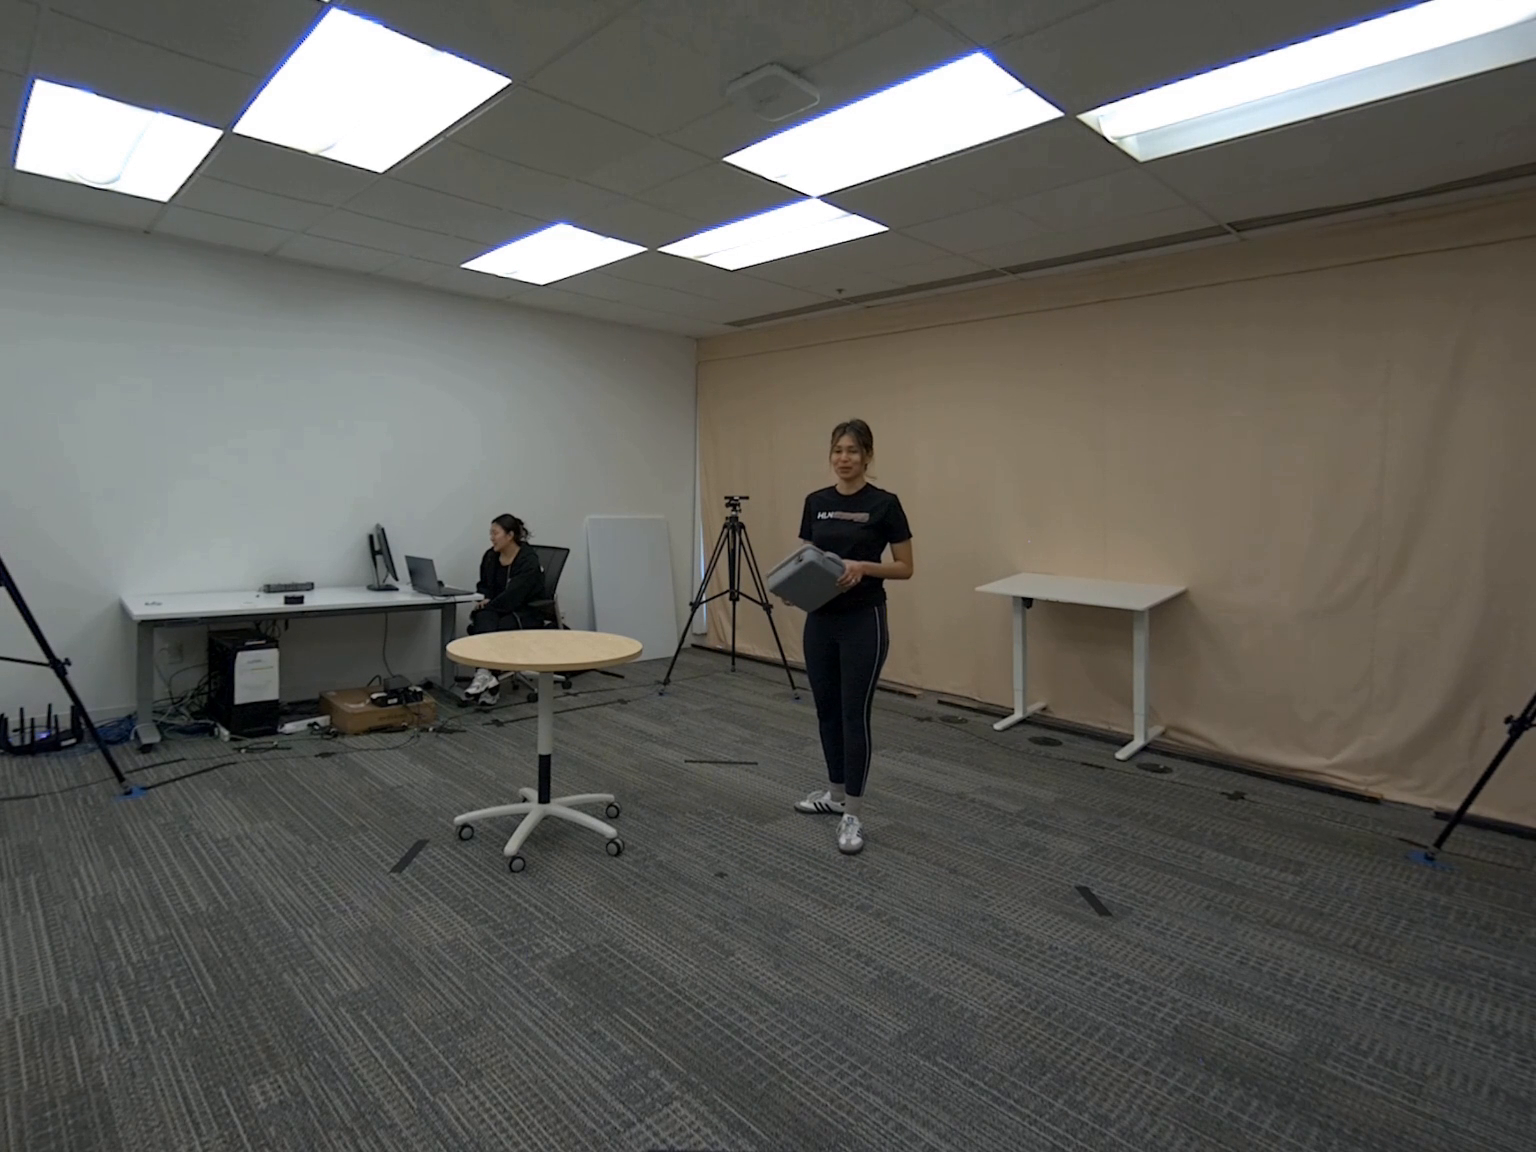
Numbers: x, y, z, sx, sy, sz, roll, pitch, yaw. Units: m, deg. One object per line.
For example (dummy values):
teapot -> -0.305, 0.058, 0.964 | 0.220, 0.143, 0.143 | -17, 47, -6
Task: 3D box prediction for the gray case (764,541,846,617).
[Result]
gray case -> 0.169, 0.013, 3.334 | 0.250, 0.107, 0.261 | 31, -55, -29
